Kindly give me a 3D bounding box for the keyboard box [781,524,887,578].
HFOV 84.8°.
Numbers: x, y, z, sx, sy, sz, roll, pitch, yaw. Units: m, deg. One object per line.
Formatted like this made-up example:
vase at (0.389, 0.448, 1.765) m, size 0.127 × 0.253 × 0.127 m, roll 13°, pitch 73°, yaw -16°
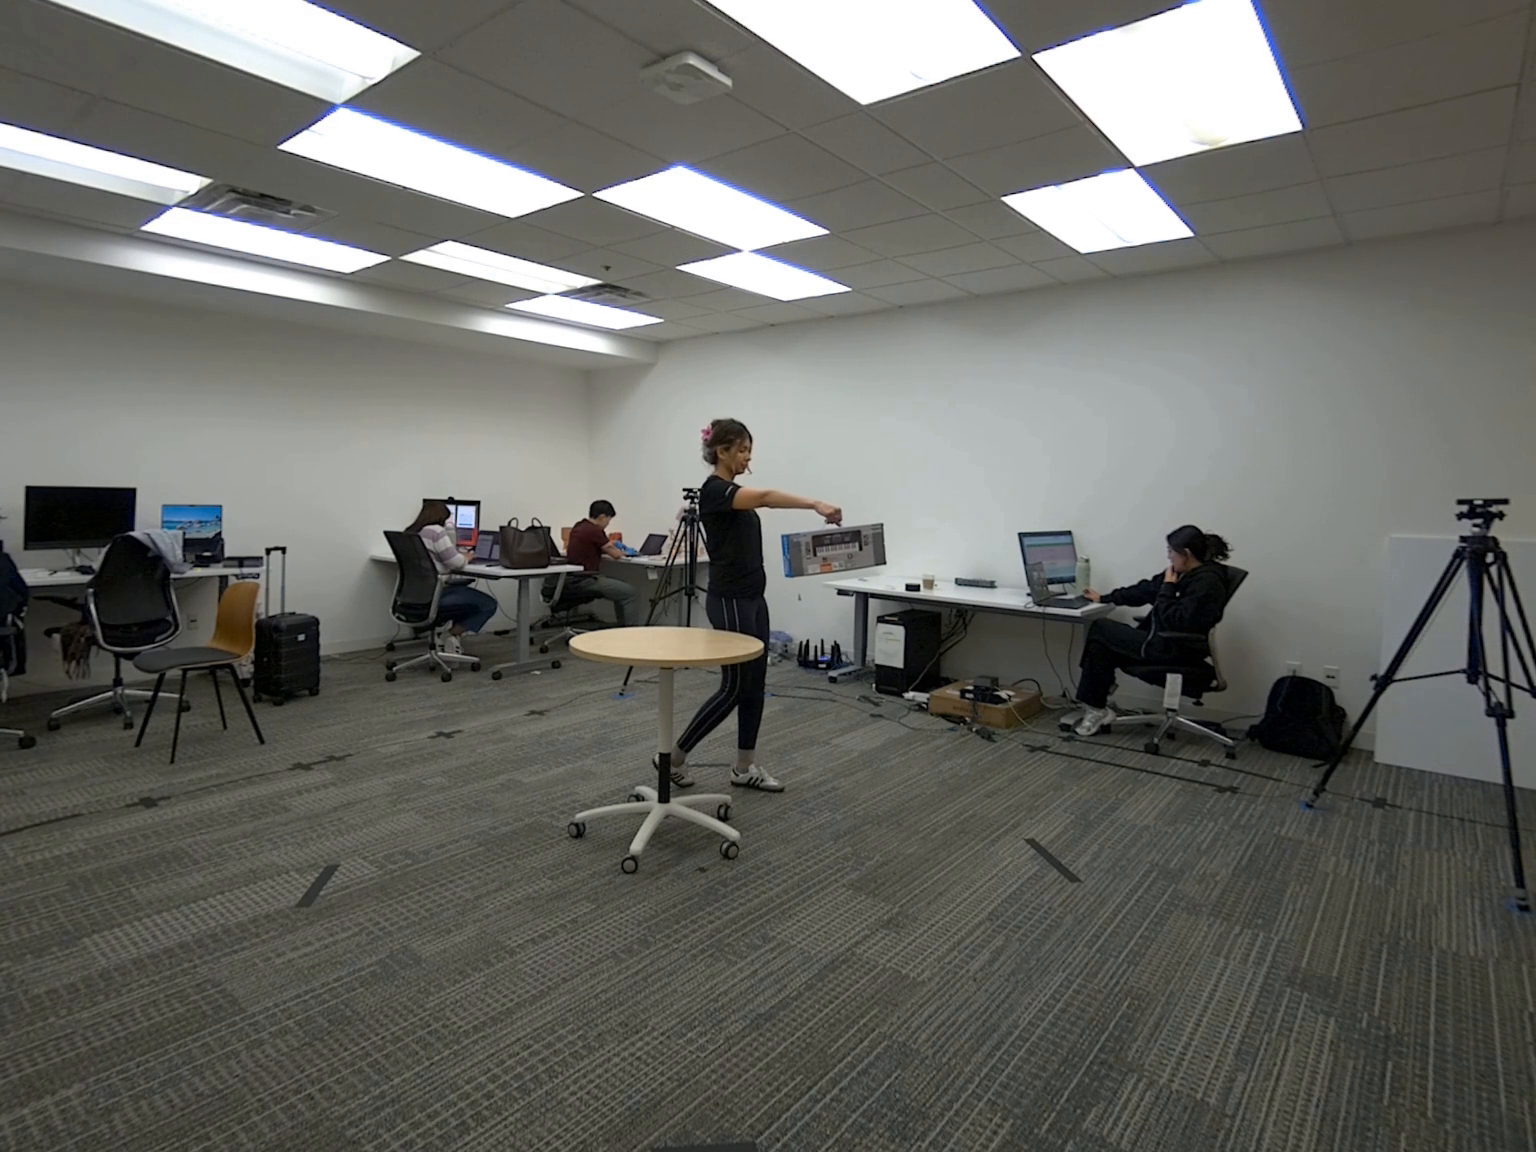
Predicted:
keyboard box at (0.257, -0.108, 3.417) m, size 0.429 × 0.175 × 0.060 m, roll -8°, pitch 5°, yaw -21°
